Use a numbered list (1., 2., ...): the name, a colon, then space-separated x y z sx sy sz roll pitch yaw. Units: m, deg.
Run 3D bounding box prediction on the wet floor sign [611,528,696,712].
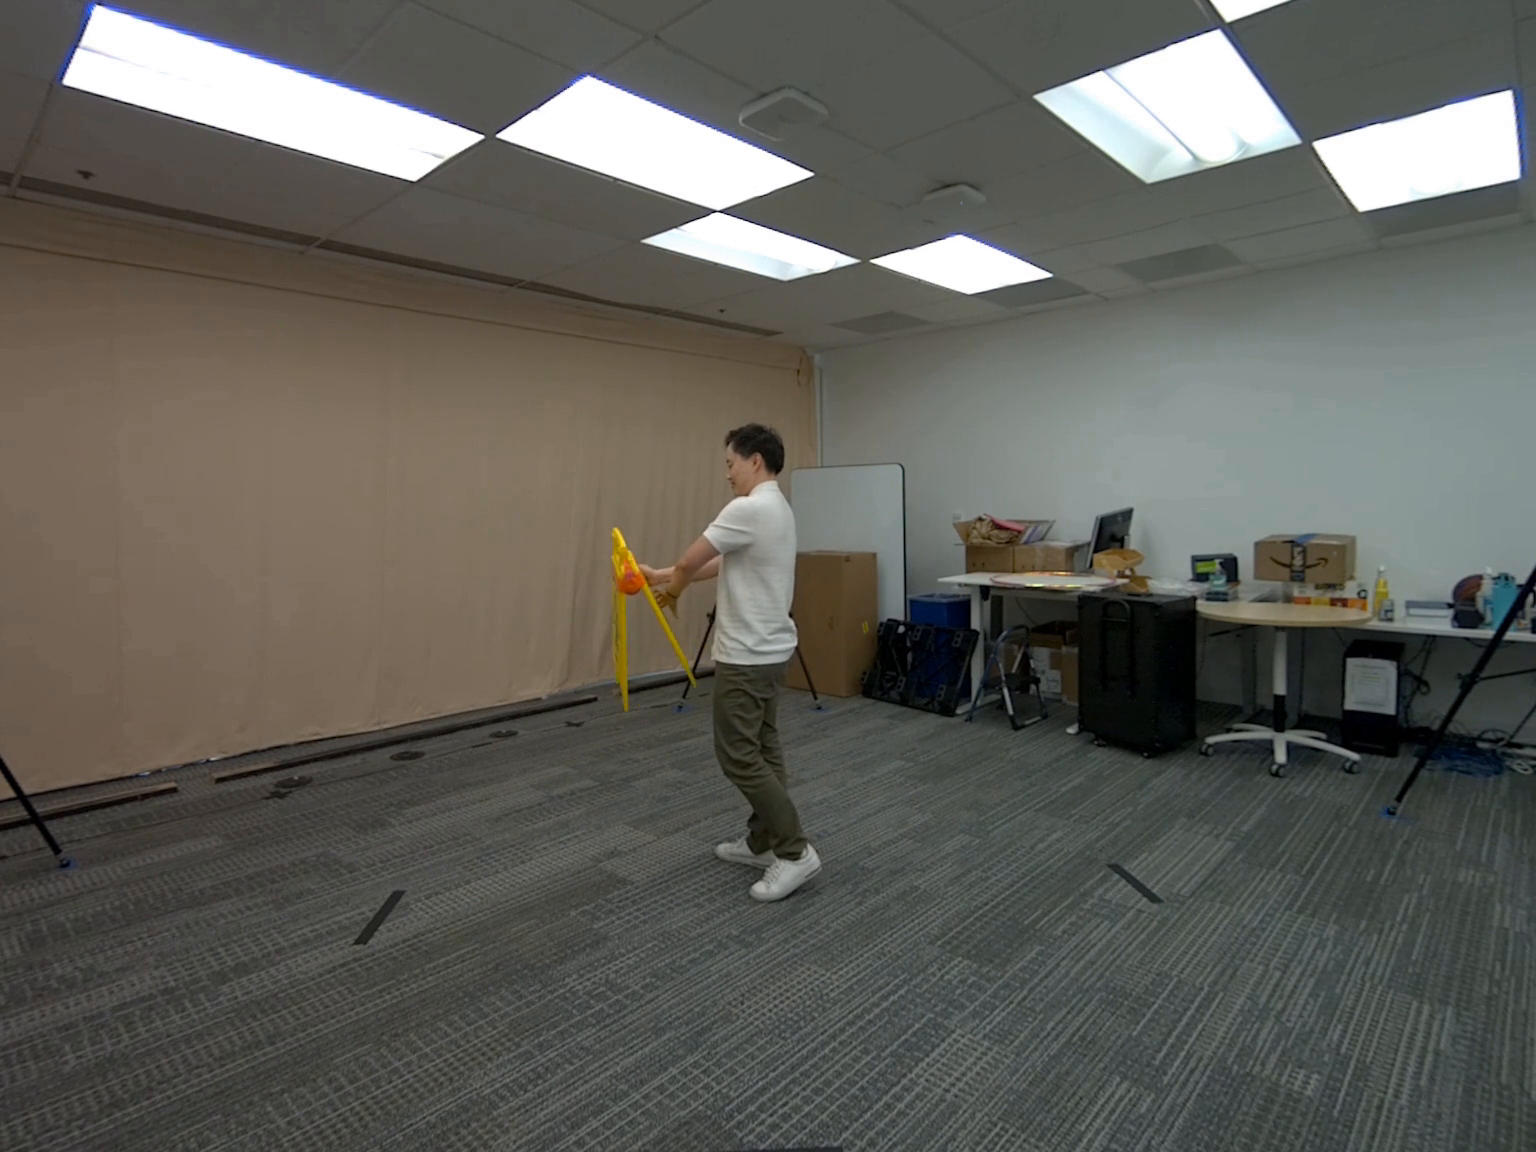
1. wet floor sign: -0.491 0.136 3.184 0.287 0.634 0.290 -15 26 -12
